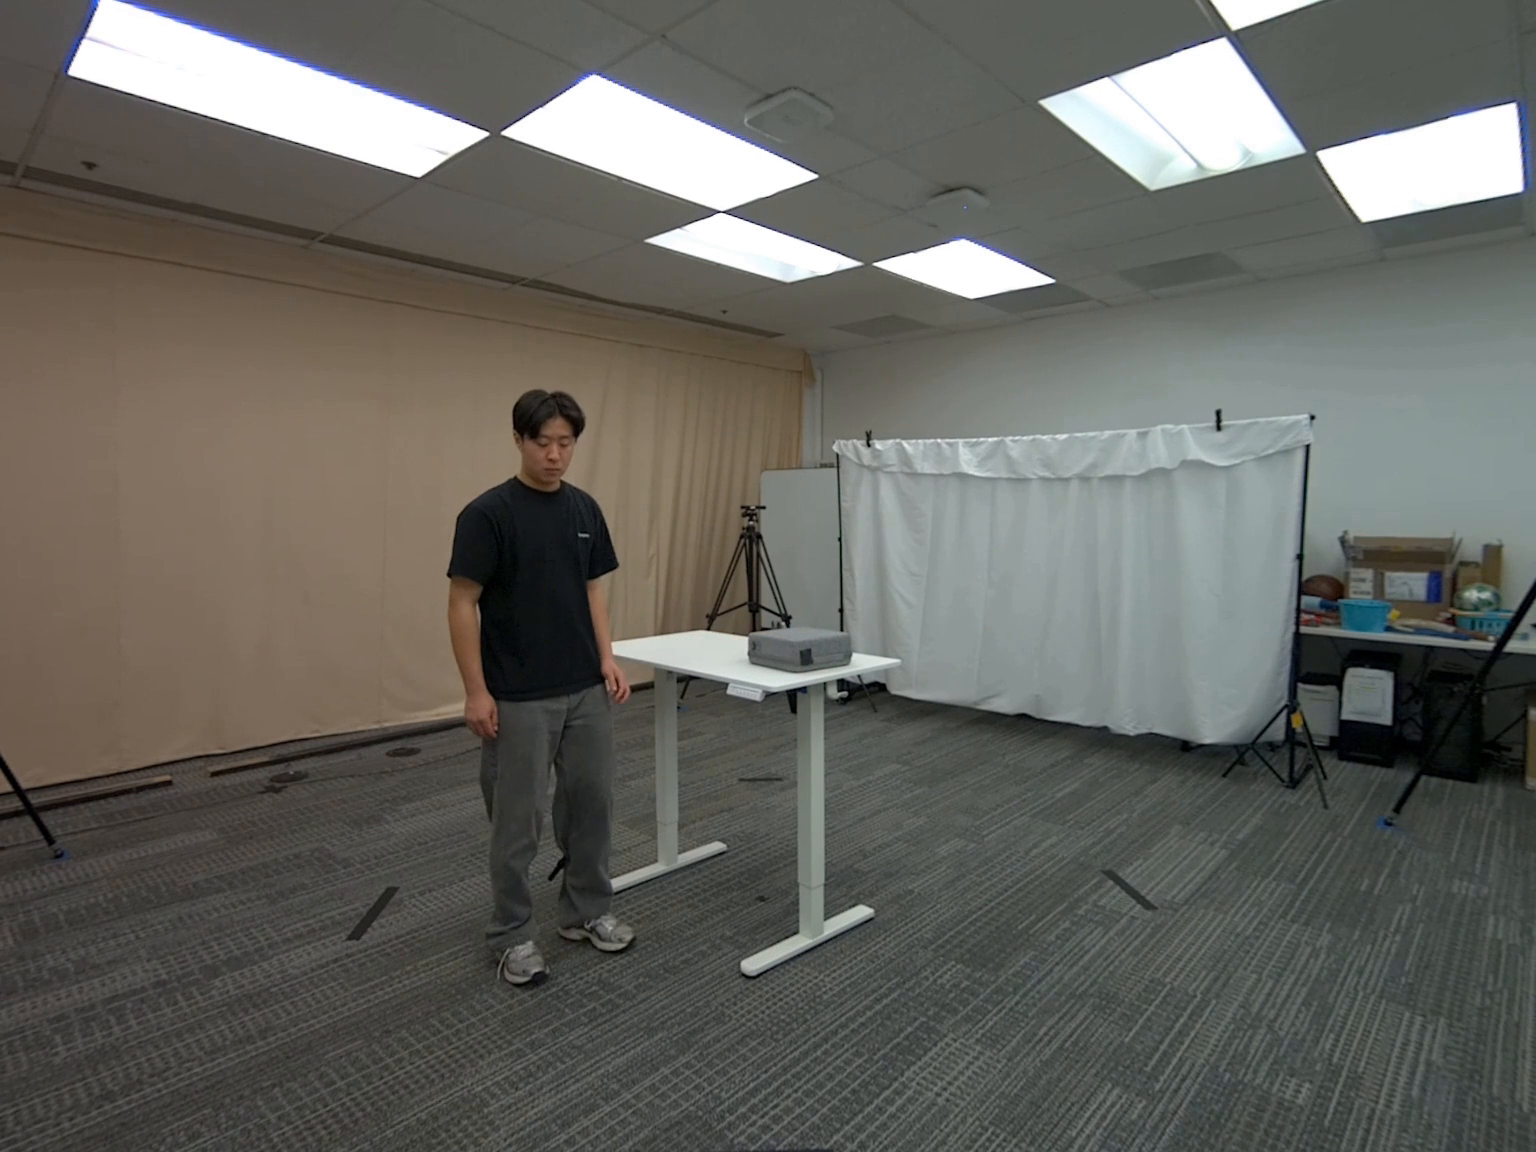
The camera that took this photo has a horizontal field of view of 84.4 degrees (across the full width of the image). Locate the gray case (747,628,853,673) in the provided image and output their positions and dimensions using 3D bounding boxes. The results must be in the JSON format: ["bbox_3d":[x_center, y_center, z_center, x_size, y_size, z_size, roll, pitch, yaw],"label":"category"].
[{"bbox_3d":[0.100,0.230,2.699,0.255,0.103,0.296,-5,6,-38],"label":"gray case"}]
